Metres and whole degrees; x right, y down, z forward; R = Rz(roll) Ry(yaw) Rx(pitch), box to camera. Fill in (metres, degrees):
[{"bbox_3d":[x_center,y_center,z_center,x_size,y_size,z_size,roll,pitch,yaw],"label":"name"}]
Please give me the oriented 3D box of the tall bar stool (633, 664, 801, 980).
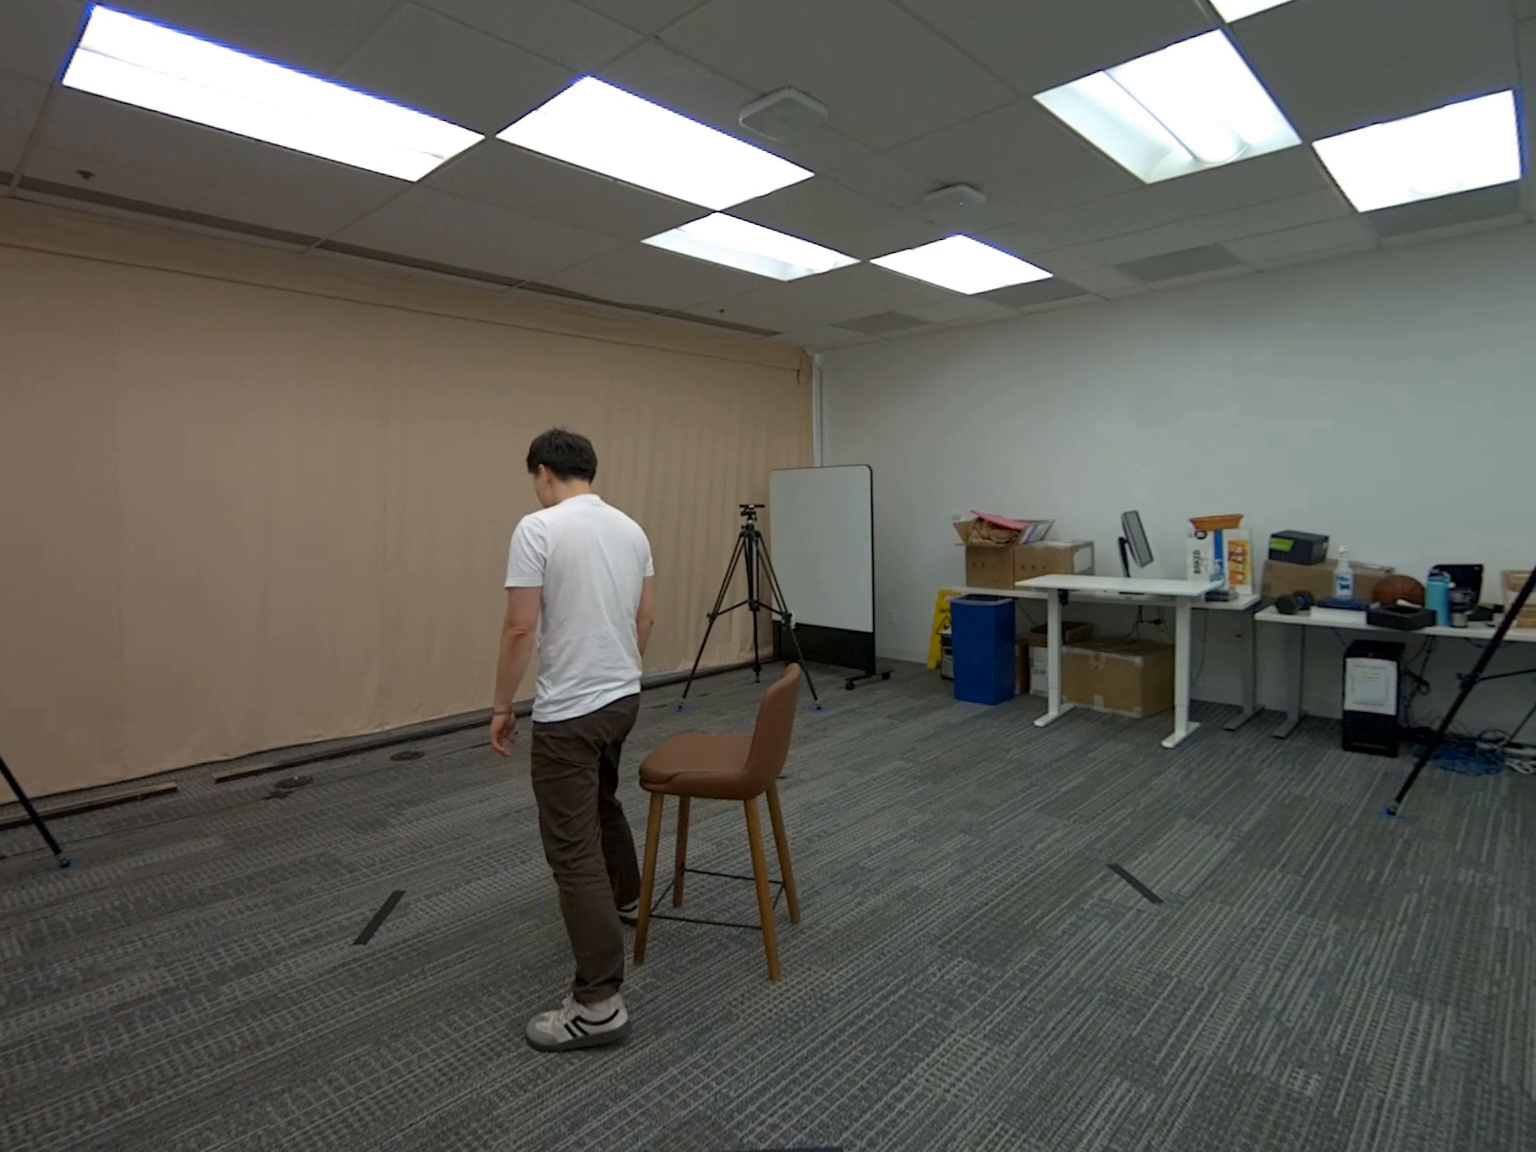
[{"bbox_3d":[-0.148,0.737,2.668,0.476,0.888,0.450,2,4,15],"label":"tall bar stool"}]
